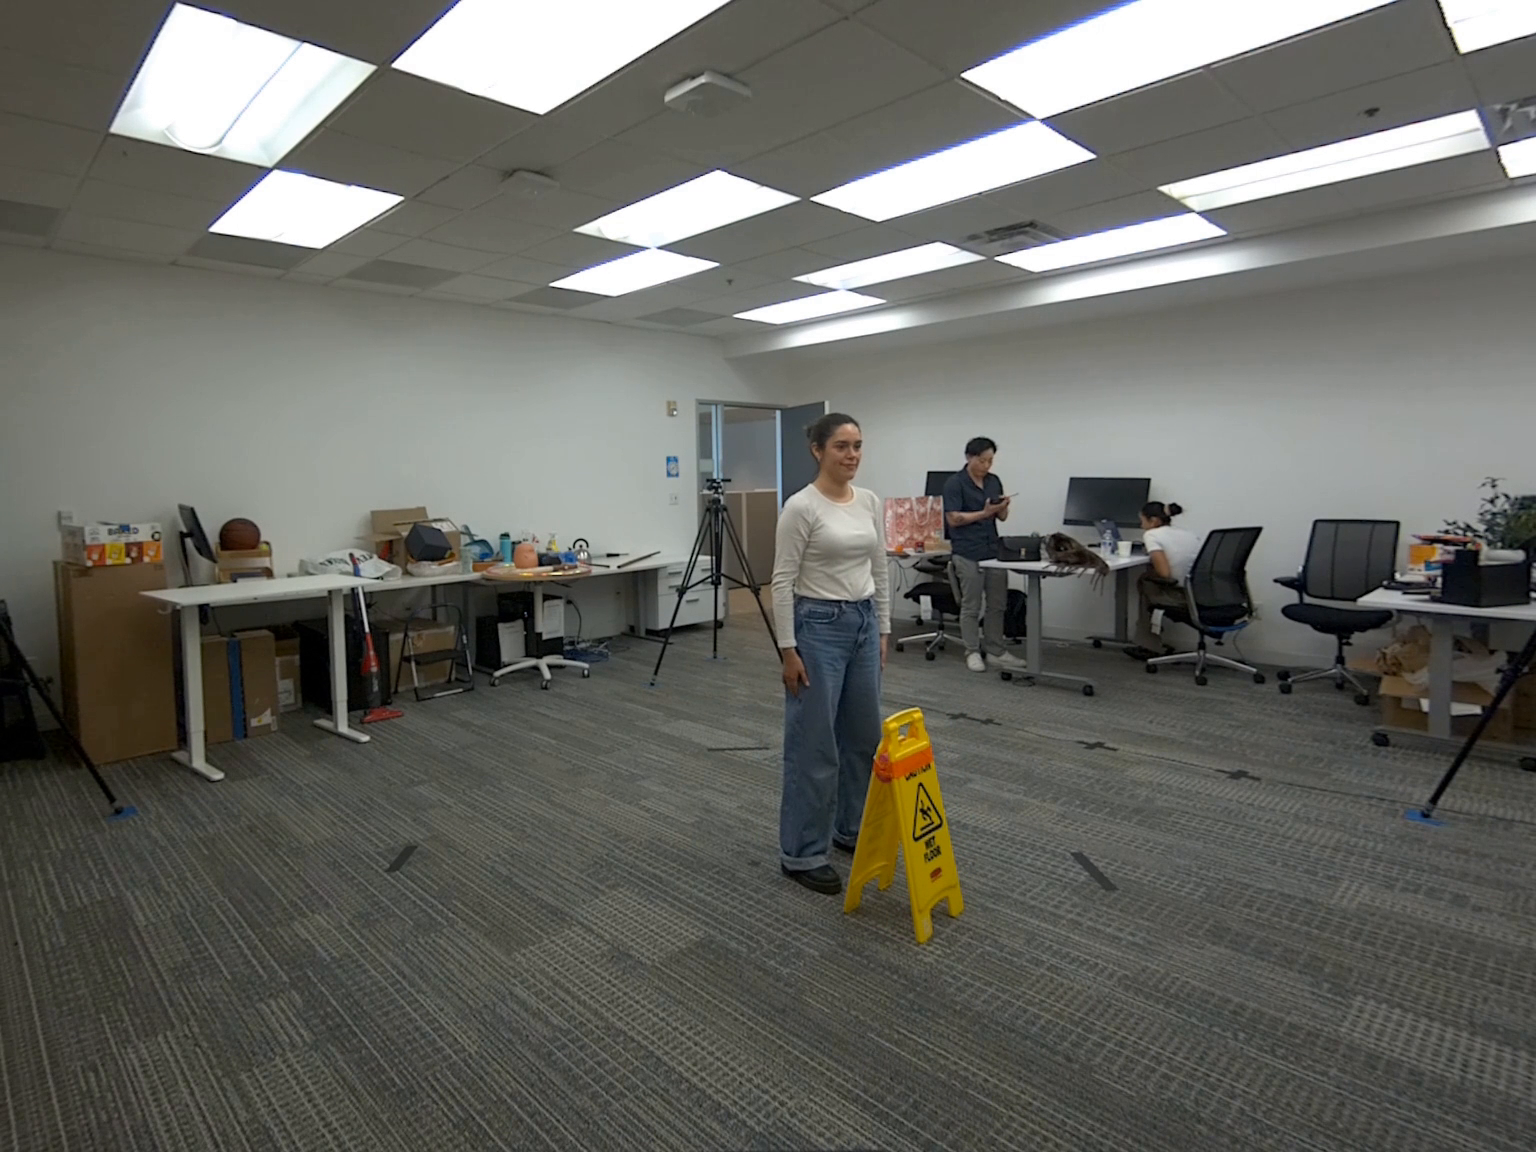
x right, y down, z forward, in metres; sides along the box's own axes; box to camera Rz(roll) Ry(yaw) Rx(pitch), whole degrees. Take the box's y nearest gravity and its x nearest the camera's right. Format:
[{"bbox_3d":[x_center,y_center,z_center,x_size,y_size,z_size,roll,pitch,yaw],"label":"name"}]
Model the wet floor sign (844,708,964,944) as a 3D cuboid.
[{"bbox_3d":[0.429,0.757,2.725,0.298,0.644,0.275,3,5,41],"label":"wet floor sign"}]
